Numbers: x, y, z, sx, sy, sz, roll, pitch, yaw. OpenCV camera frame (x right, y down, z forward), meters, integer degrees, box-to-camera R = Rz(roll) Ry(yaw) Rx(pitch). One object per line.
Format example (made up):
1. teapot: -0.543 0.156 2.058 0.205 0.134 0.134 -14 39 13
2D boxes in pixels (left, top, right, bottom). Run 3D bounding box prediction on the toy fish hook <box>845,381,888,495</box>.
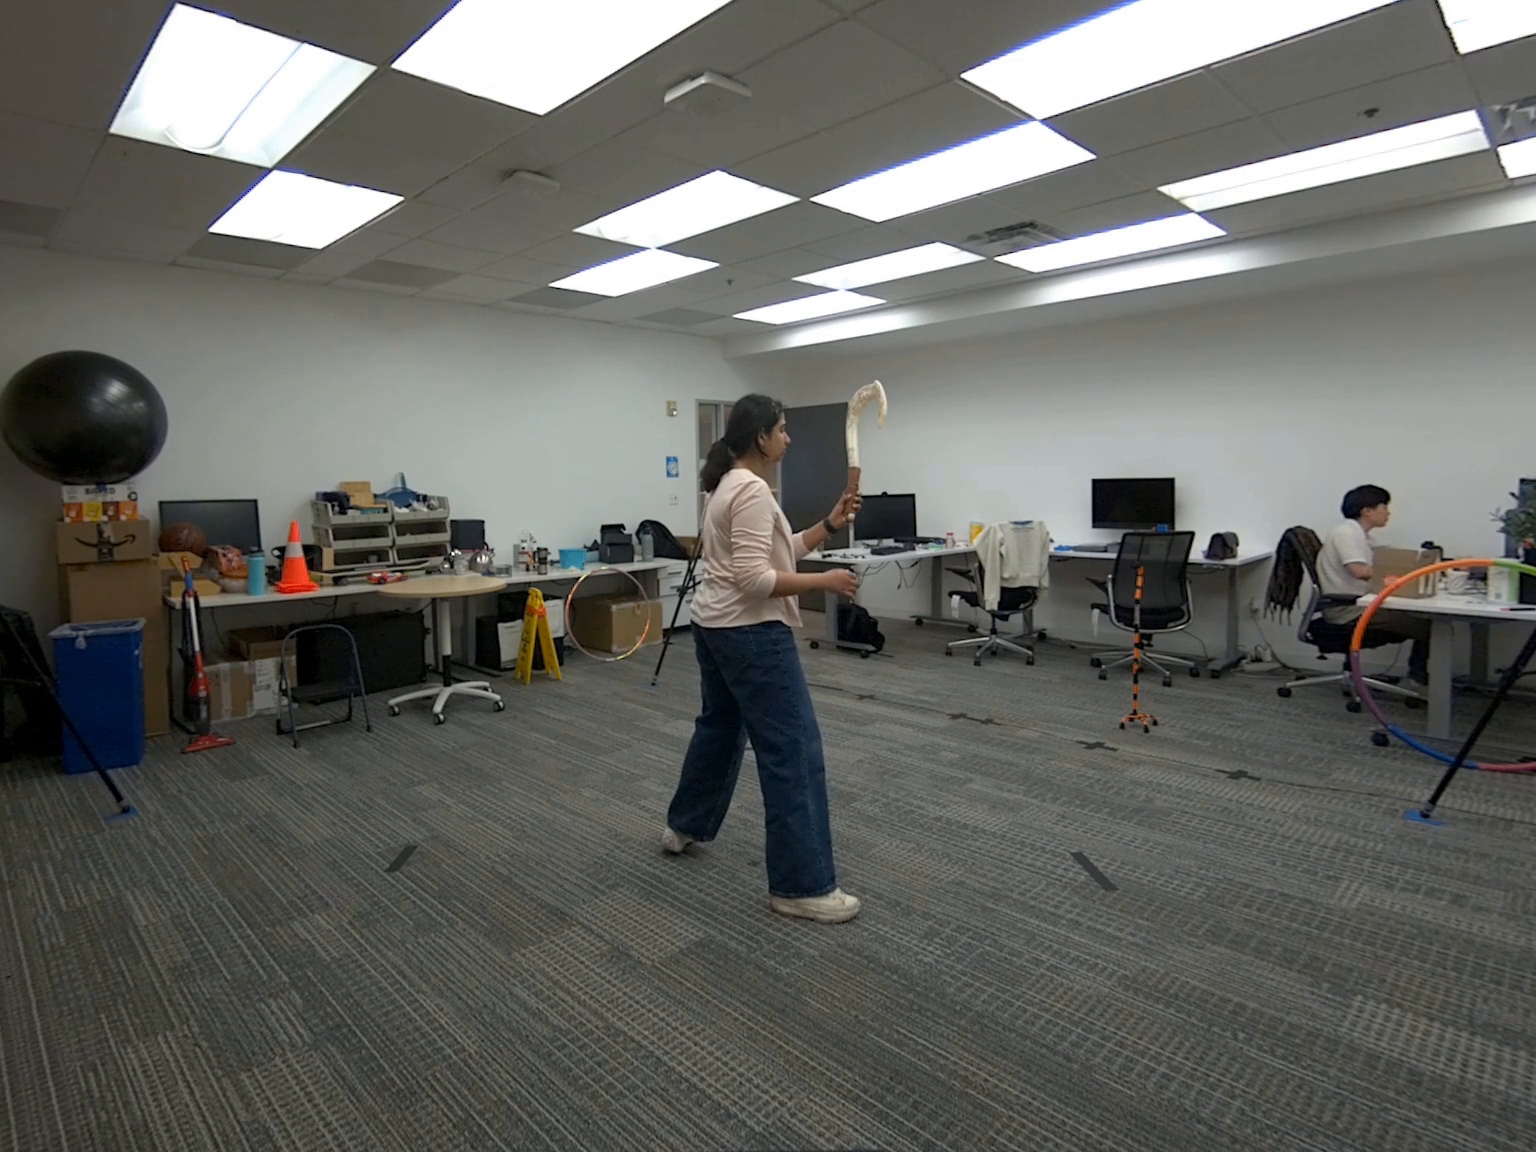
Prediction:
1. toy fish hook: 0.339 -0.437 2.982 0.047 0.512 0.227 13 -15 -22
